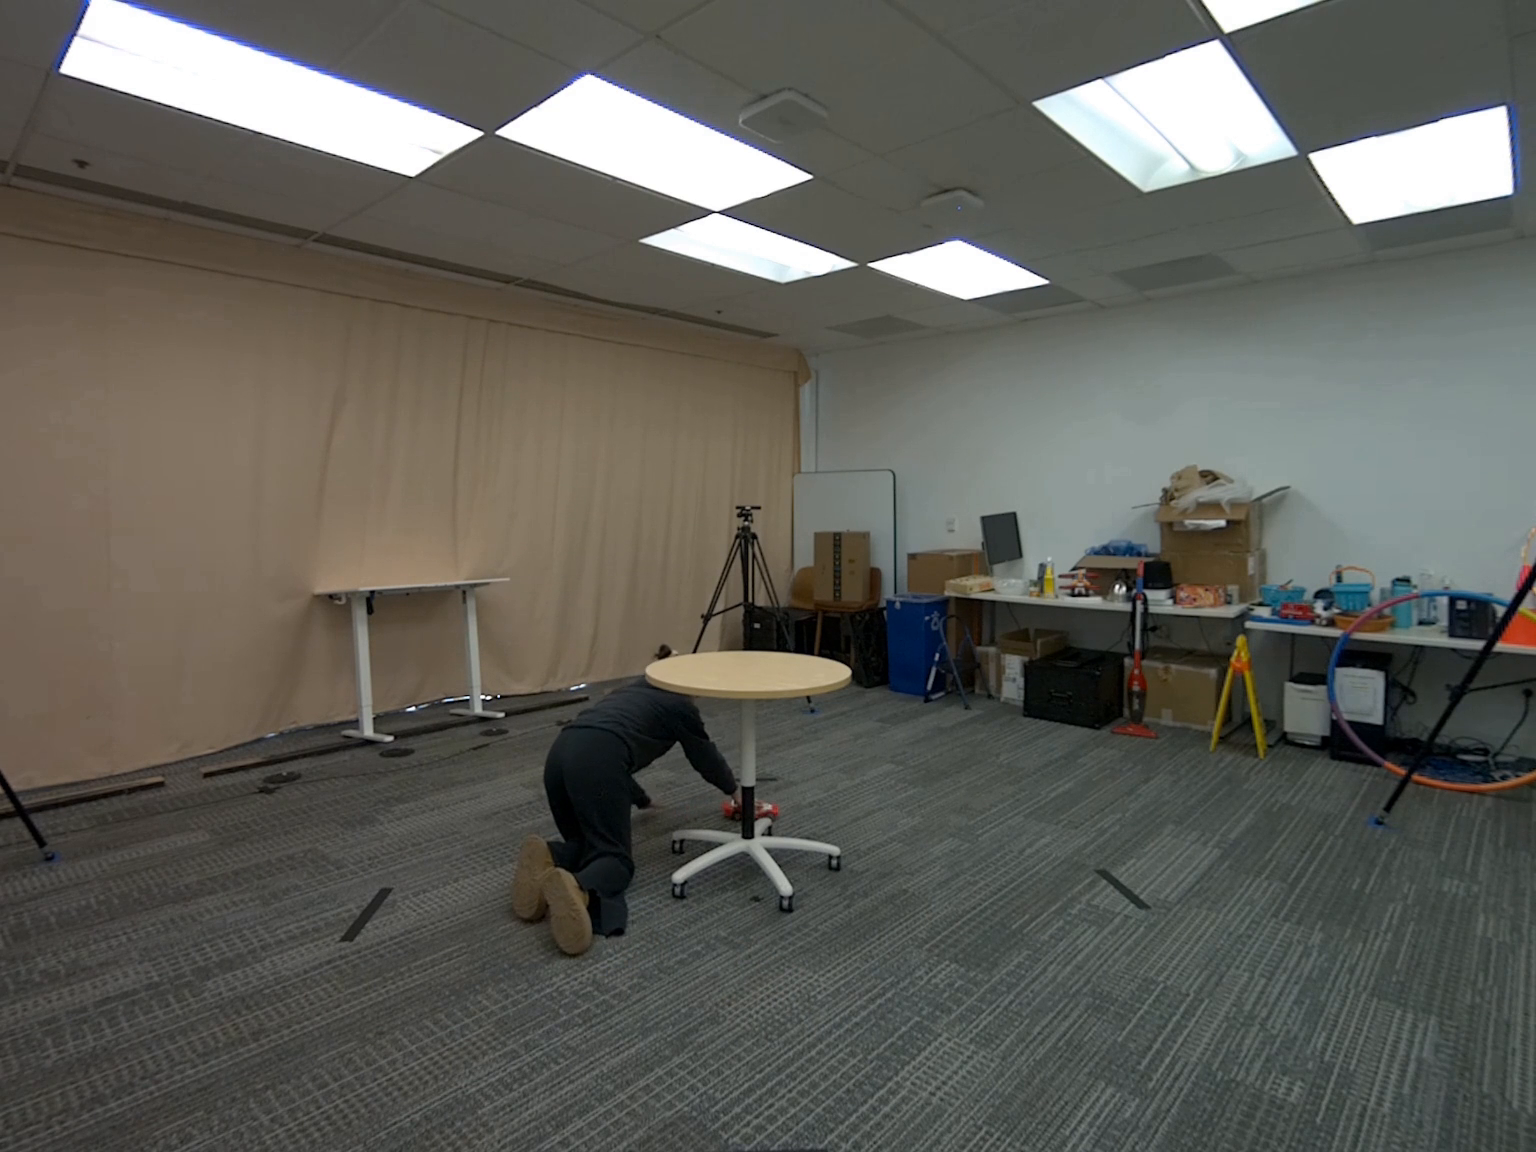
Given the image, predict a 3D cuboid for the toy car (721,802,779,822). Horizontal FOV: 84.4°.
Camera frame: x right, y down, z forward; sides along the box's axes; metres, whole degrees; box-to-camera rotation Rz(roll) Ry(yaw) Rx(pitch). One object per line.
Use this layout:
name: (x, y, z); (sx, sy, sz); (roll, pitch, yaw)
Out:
toy car: (-0.062, 1.044, 3.766); (0.257, 0.083, 0.129); (11, 5, 6)
